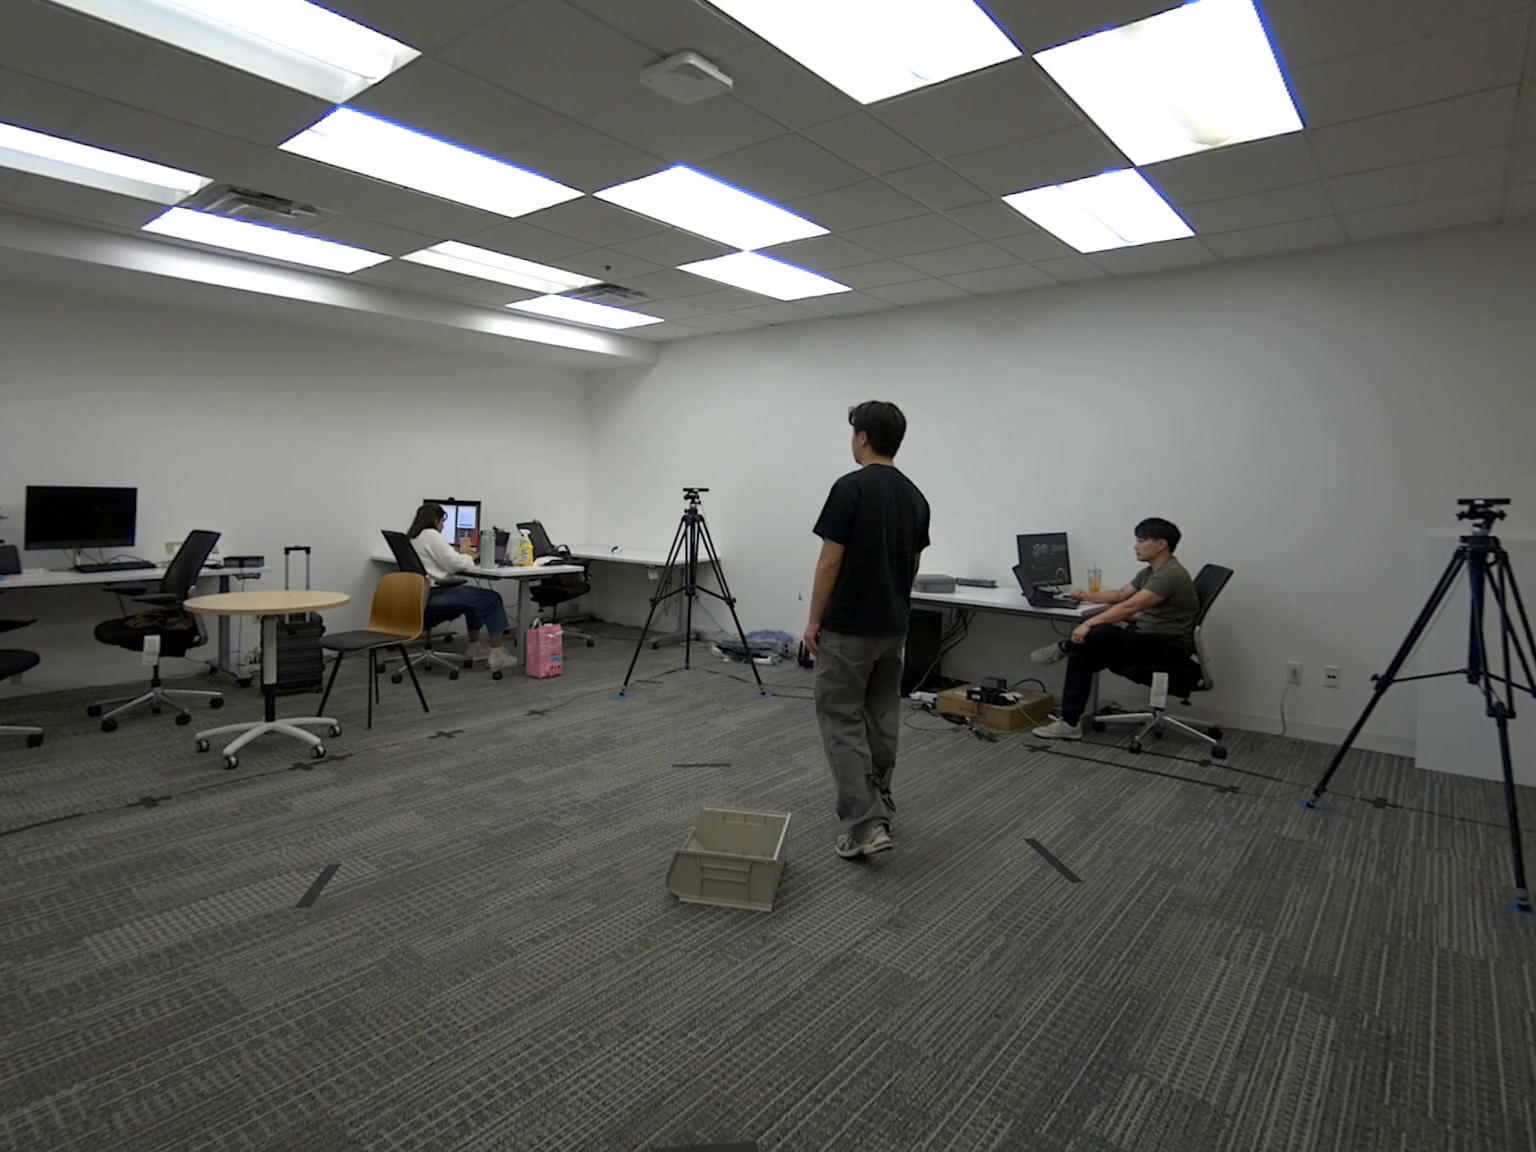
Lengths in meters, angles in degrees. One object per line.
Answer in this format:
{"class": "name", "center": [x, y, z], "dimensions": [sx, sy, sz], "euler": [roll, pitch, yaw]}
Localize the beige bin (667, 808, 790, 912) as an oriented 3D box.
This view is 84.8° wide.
{"class": "beige bin", "center": [-0.141, 0.991, 3.026], "dimensions": [0.382, 0.188, 0.419], "euler": [3, 5, 9]}
